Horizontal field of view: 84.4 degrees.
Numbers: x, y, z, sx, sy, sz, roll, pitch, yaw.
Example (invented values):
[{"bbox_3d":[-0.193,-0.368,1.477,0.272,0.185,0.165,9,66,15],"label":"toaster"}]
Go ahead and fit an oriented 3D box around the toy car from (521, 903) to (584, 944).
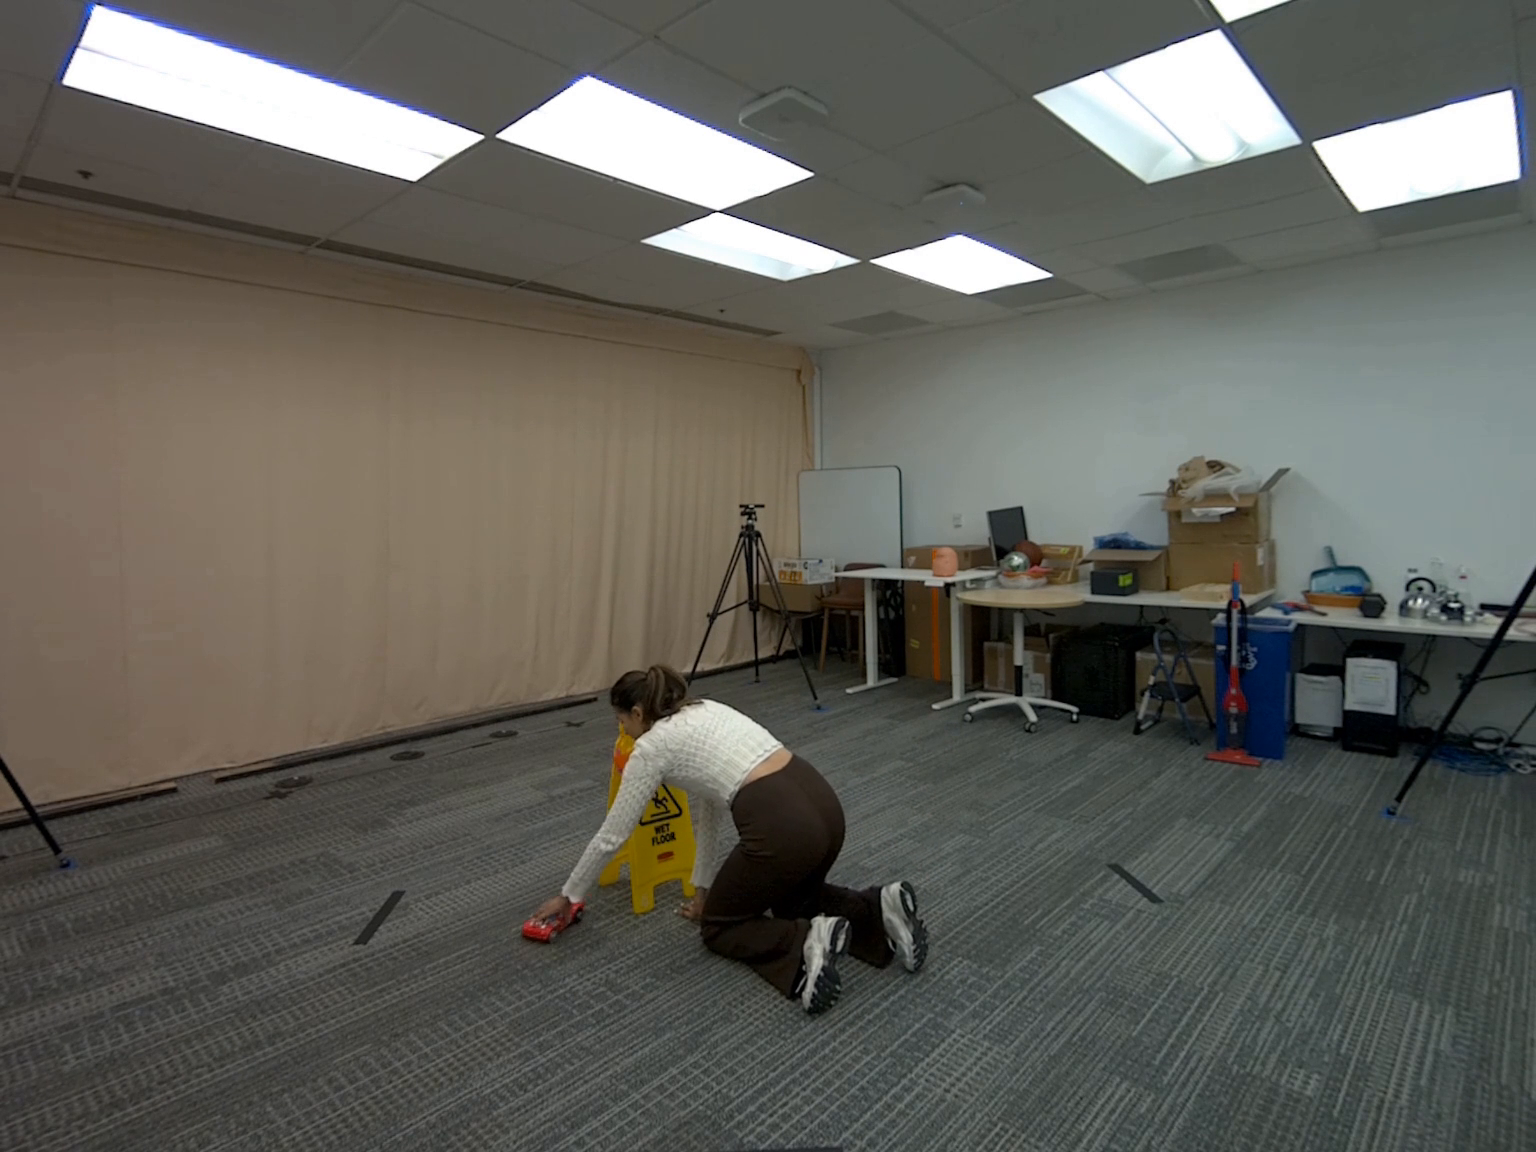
[{"bbox_3d":[-0.681,1.138,2.822,0.134,0.082,0.251,1,17,25],"label":"toy car"}]
